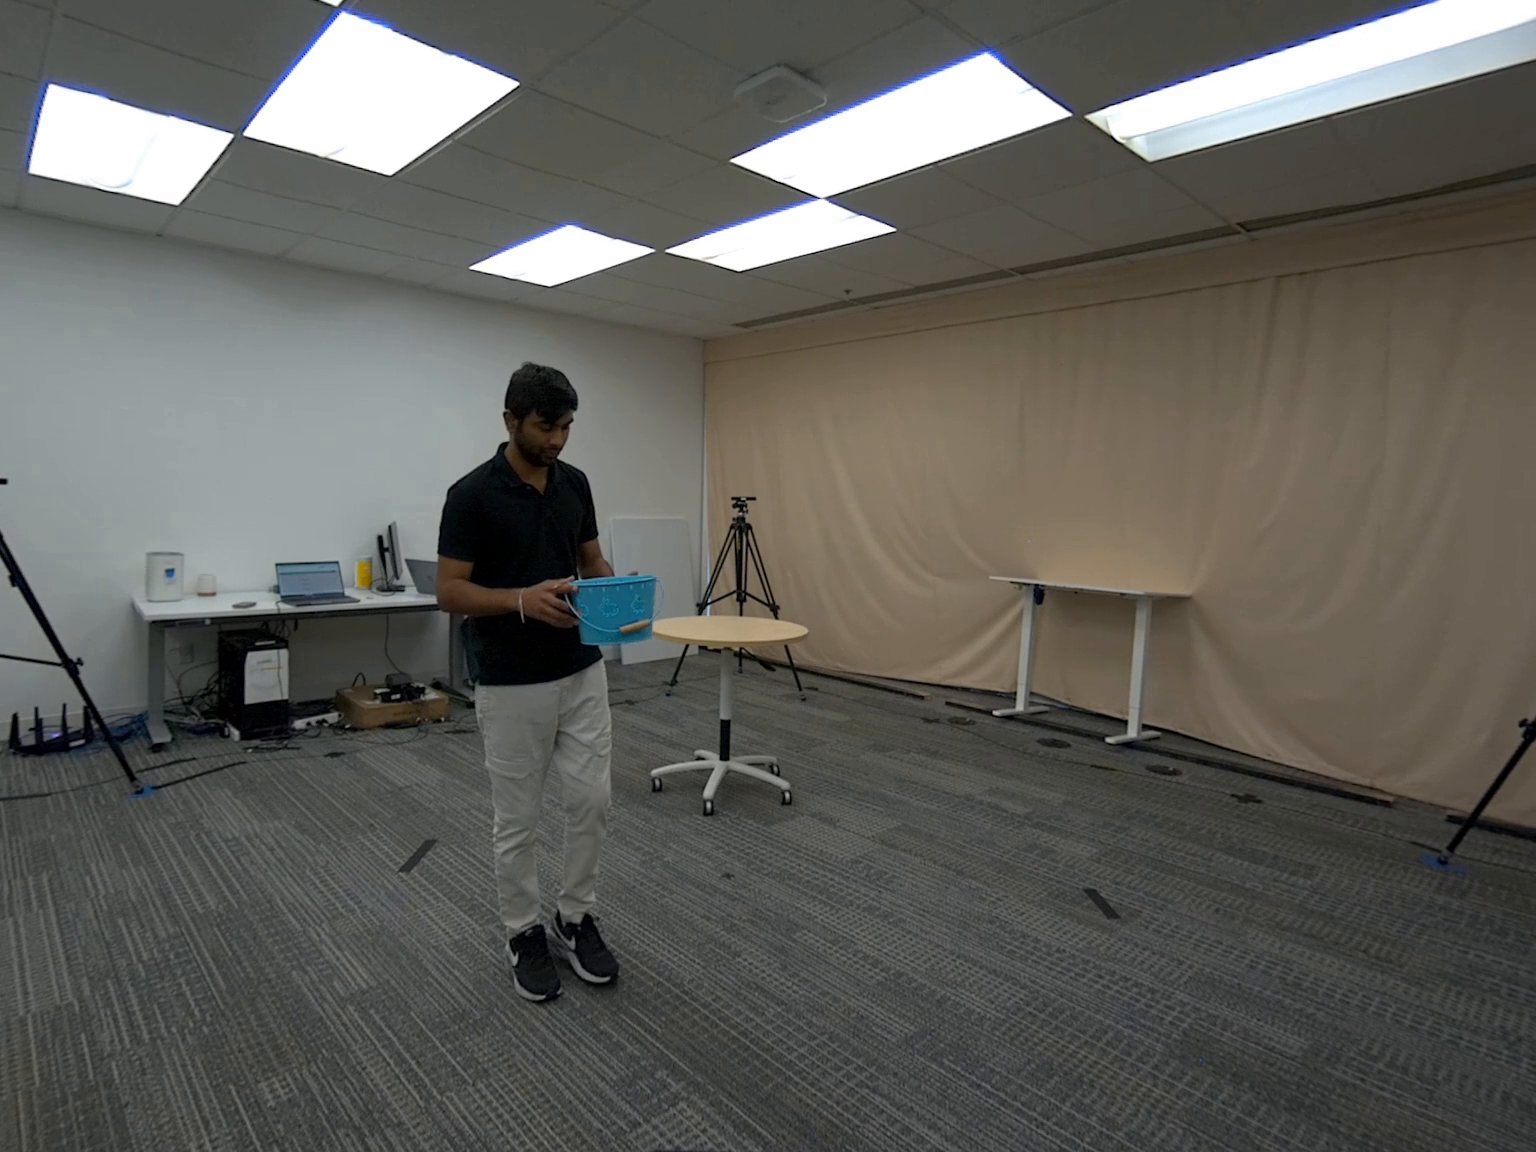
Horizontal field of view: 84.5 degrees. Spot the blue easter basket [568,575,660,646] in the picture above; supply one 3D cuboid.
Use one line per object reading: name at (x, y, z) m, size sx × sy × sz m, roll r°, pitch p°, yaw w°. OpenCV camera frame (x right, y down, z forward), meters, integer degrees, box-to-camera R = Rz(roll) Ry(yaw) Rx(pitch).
blue easter basket at (-0.410, 0.097, 2.098) m, size 0.243 × 0.155 × 0.244 m, roll -6°, pitch 3°, yaw -1°
